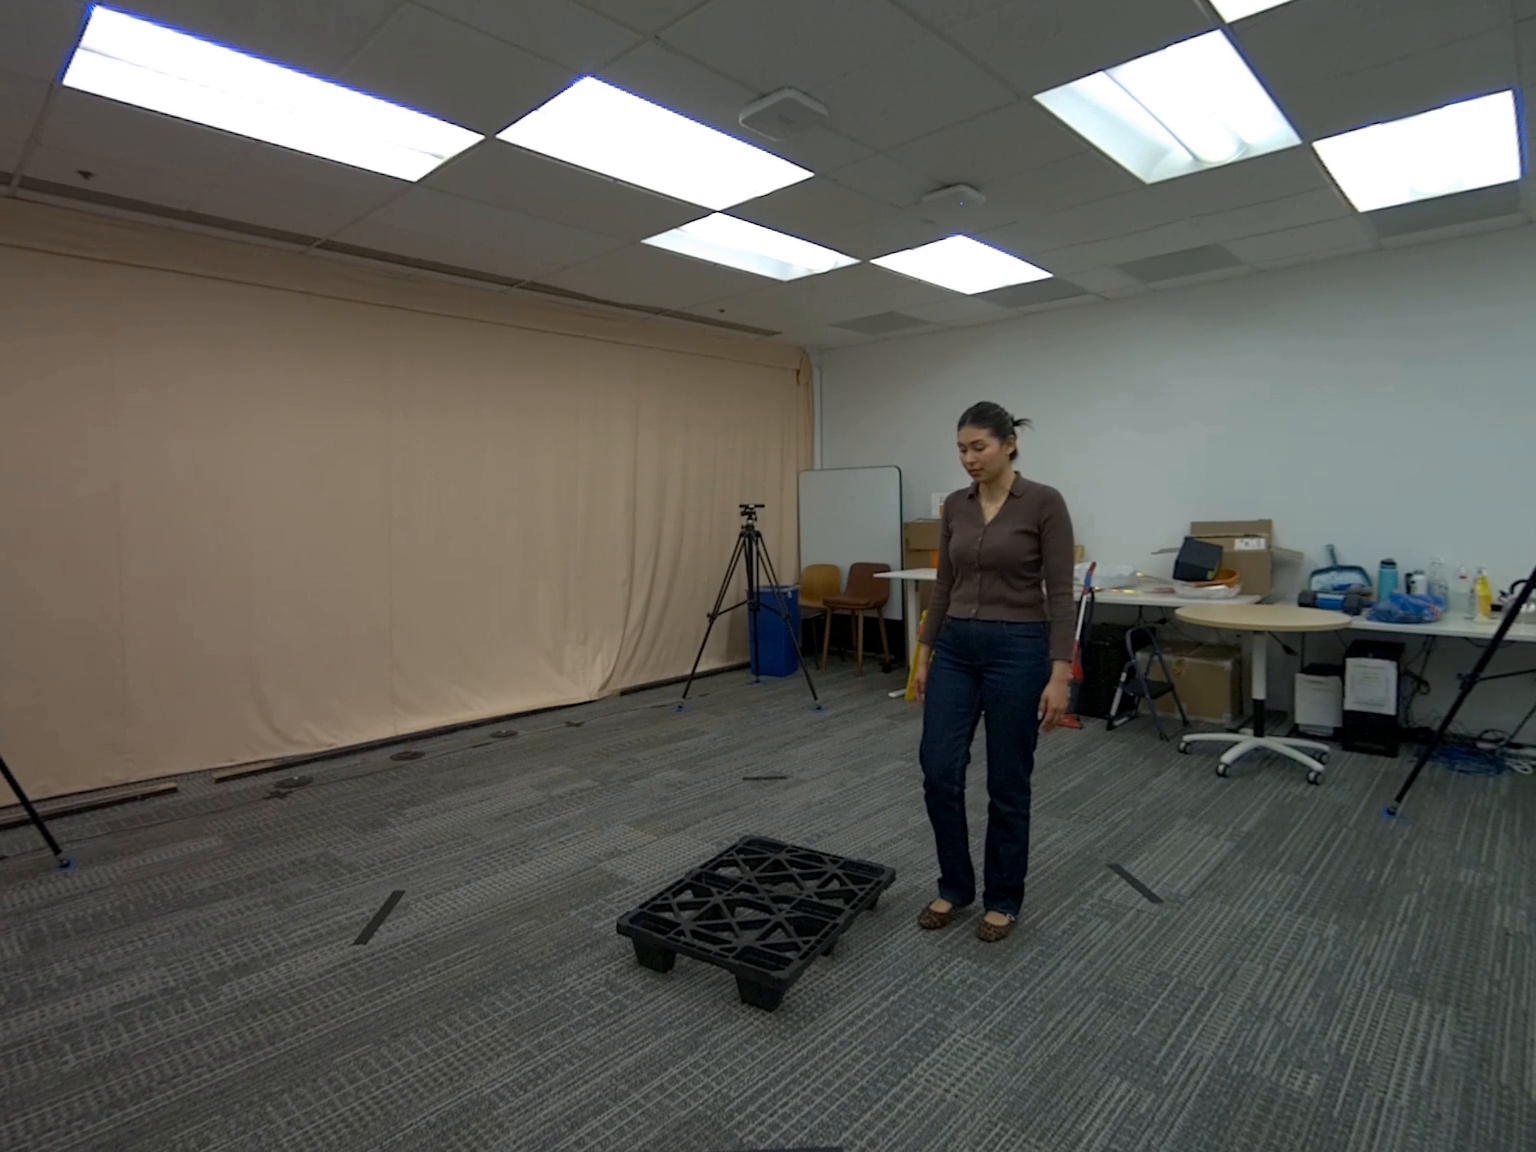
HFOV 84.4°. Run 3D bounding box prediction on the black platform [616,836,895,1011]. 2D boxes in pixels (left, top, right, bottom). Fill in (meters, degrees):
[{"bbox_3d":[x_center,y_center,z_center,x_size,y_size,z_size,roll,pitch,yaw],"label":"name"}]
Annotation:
[{"bbox_3d":[-0.010,1.093,2.730,0.623,0.143,0.784,1,5,32],"label":"black platform"}]
